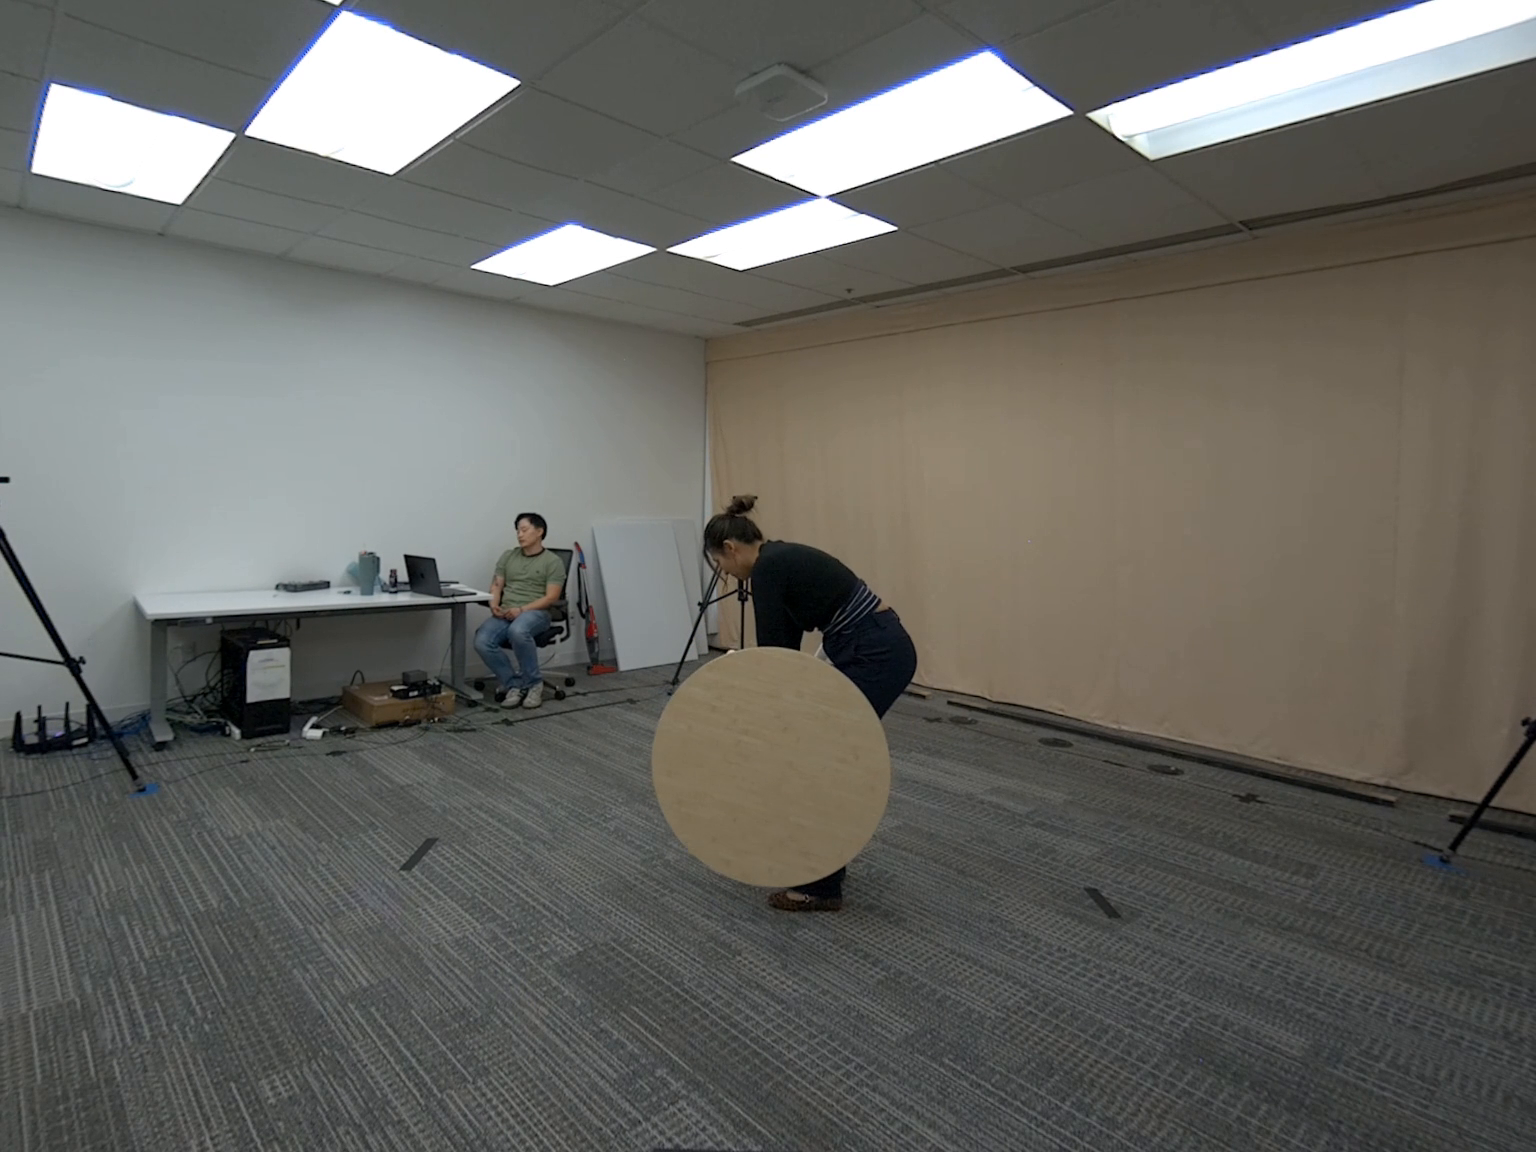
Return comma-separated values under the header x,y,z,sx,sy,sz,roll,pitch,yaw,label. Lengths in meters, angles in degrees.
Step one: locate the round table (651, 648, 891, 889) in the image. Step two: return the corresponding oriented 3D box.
x,y,z,sx,sy,sz,roll,pitch,yaw,label
0.036,0.590,3.065,0.768,0.763,0.791,2,3,6,round table
